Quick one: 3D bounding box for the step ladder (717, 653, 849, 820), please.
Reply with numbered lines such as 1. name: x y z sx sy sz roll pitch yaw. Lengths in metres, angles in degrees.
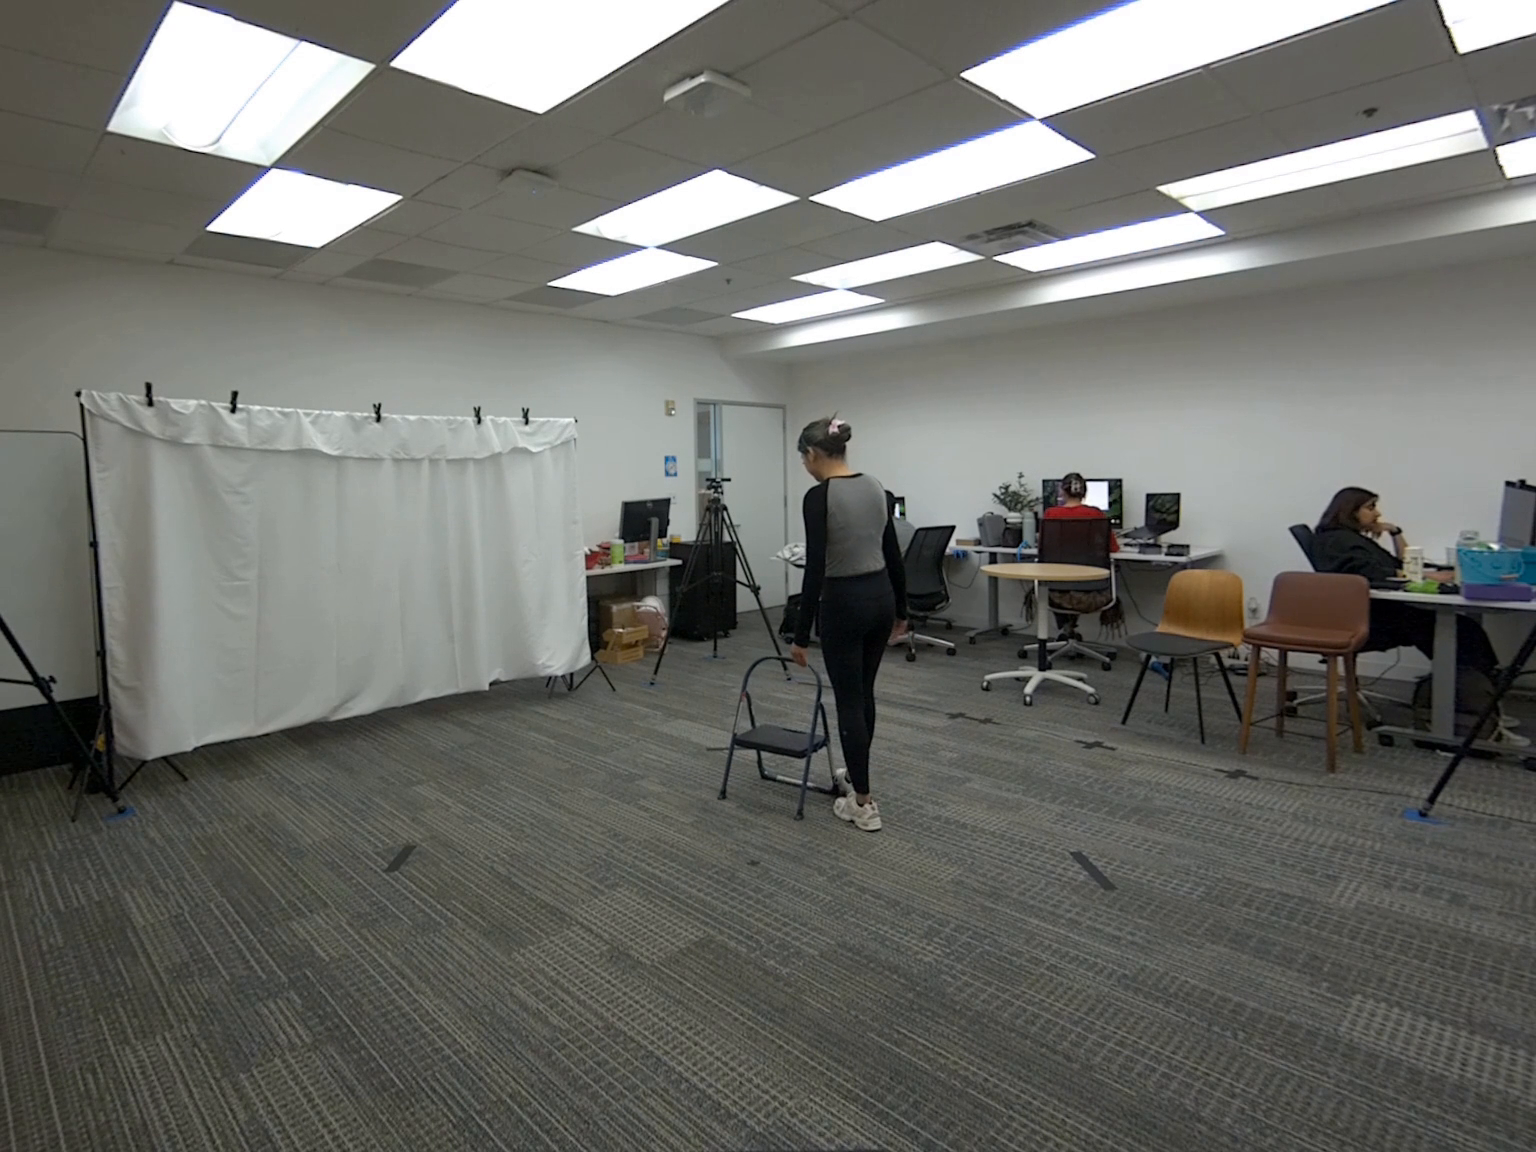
1. step ladder: 0.042 0.668 3.732 0.443 0.604 0.340 3 5 36
